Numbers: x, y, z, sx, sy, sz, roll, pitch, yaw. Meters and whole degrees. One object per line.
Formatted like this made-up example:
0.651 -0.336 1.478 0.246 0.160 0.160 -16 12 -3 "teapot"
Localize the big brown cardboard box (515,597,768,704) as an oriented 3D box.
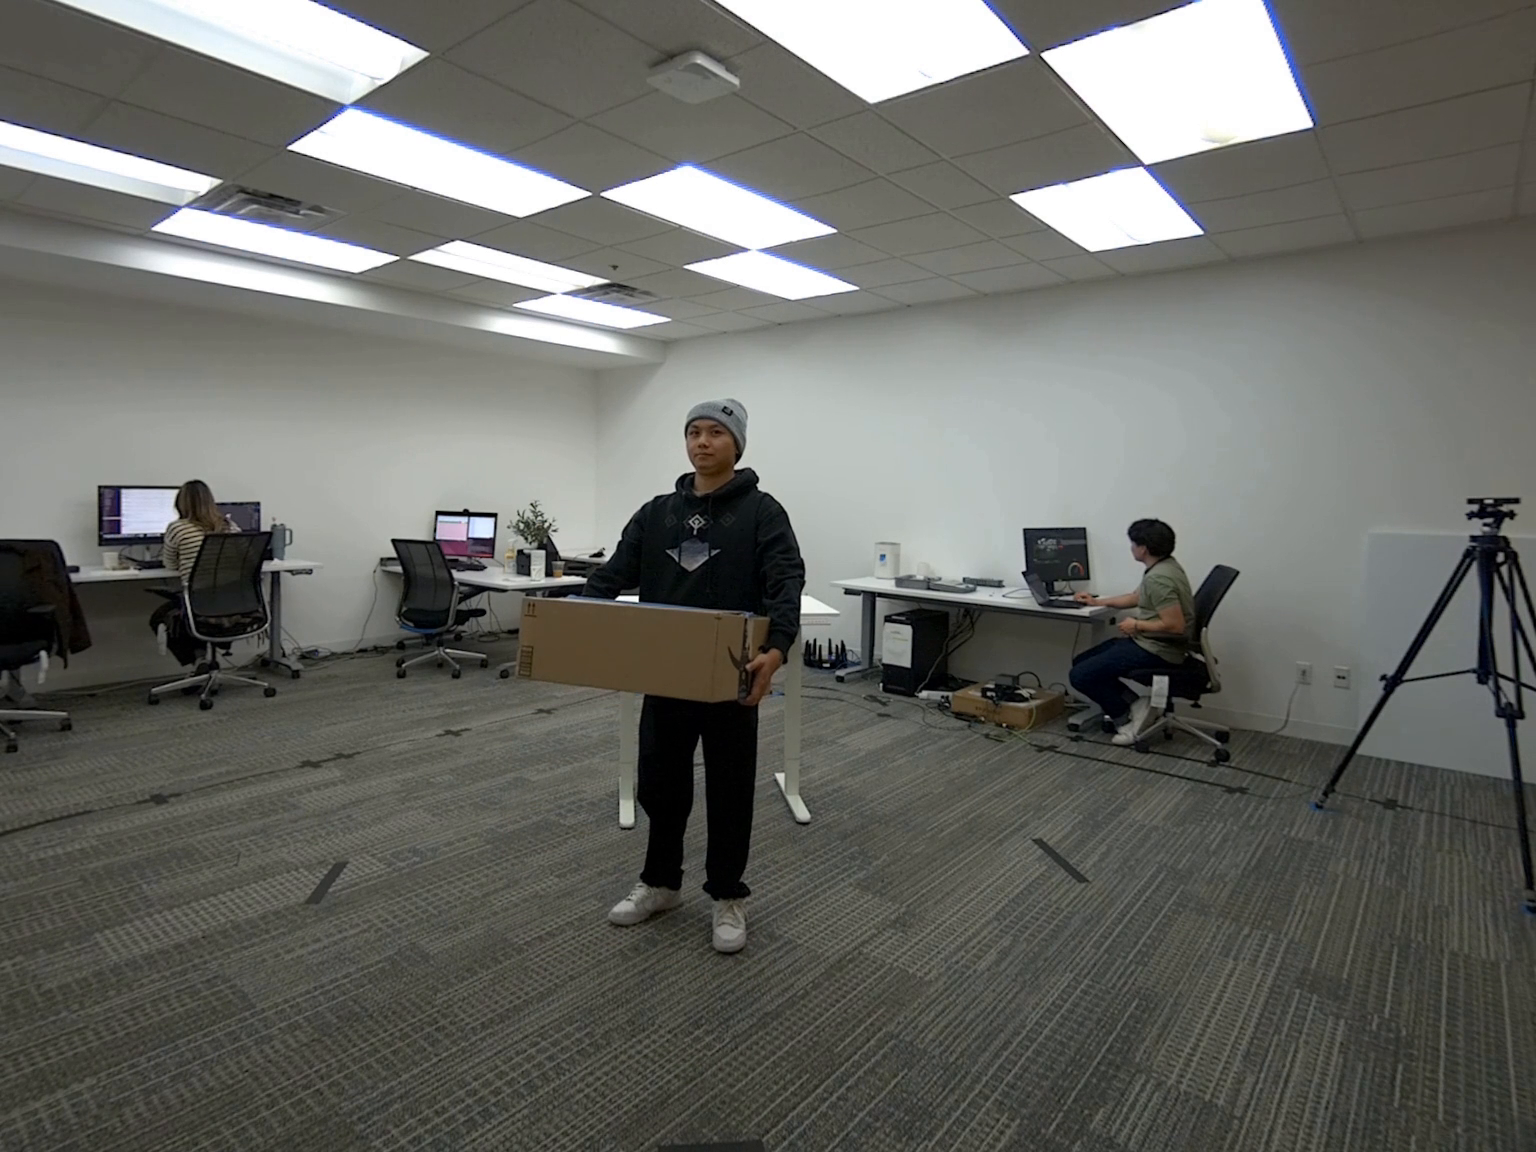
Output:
-0.329 0.188 2.314 0.604 0.234 0.406 5 -3 23 "big brown cardboard box"
